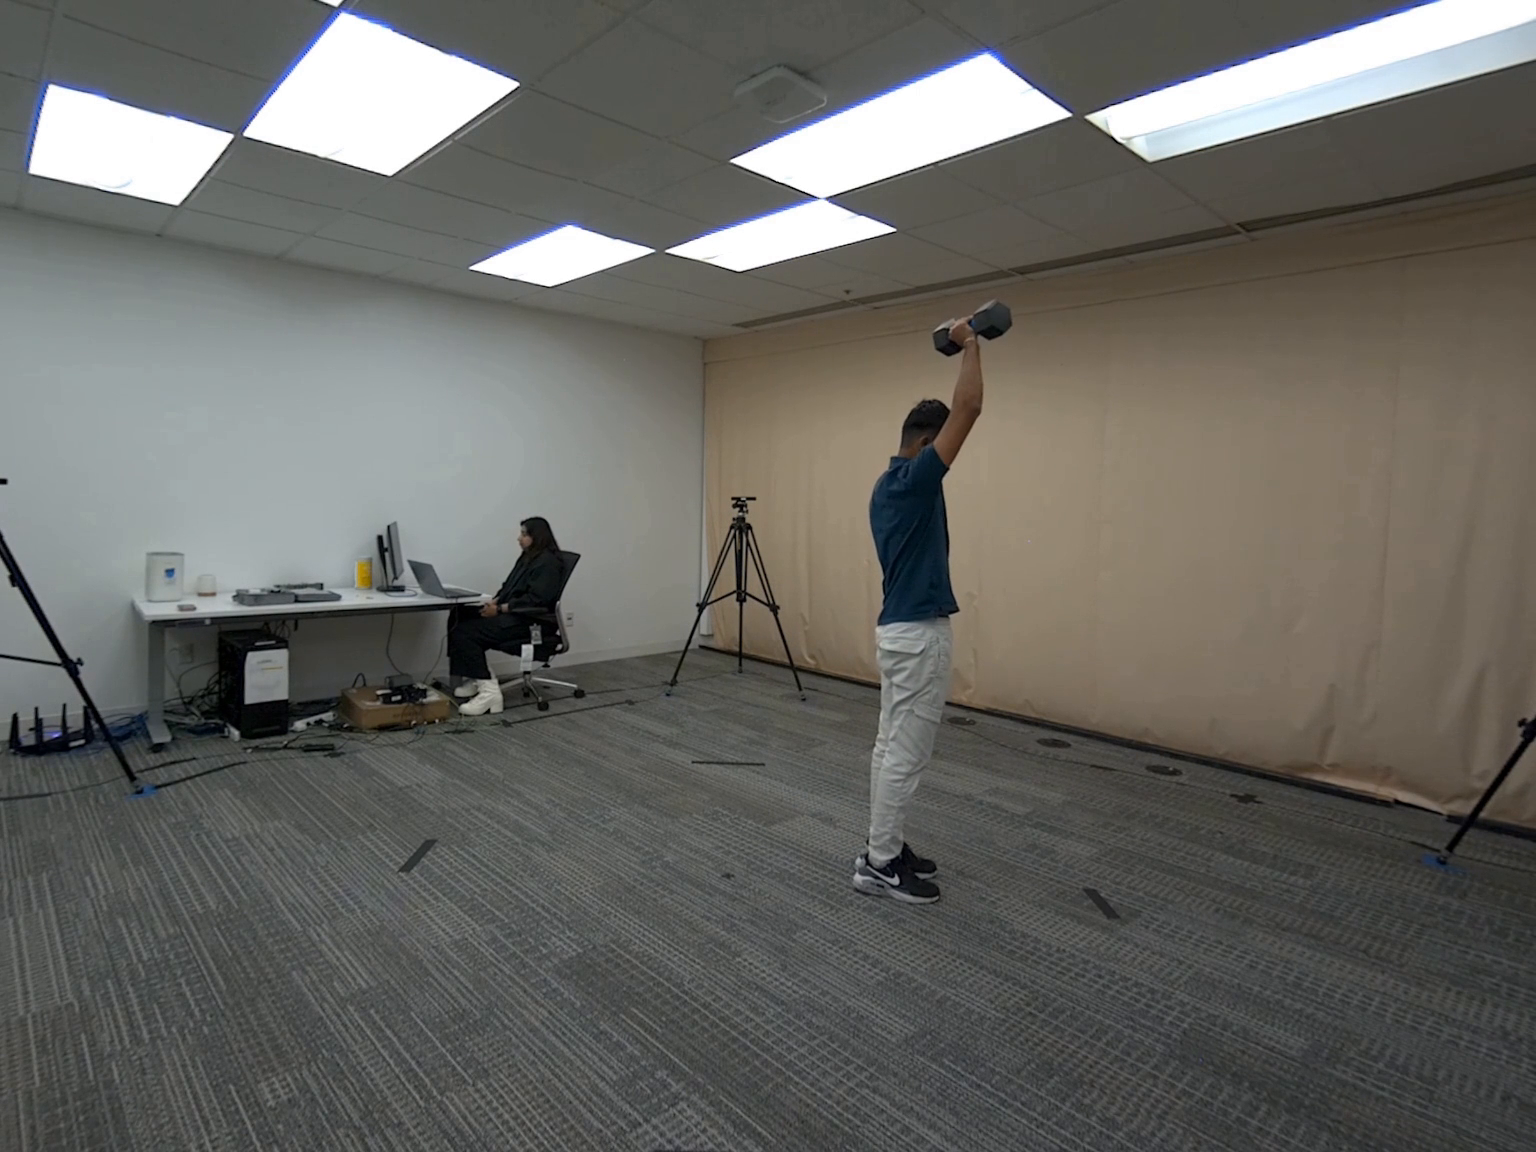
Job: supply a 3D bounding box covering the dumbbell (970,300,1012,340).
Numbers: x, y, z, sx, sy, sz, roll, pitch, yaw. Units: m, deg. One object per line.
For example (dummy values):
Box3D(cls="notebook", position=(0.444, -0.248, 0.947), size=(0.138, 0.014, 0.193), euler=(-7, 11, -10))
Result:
Box3D(cls="dumbbell", position=(0.682, -0.850, 2.894), size=(0.120, 0.109, 0.298), euler=(20, -11, -24))
